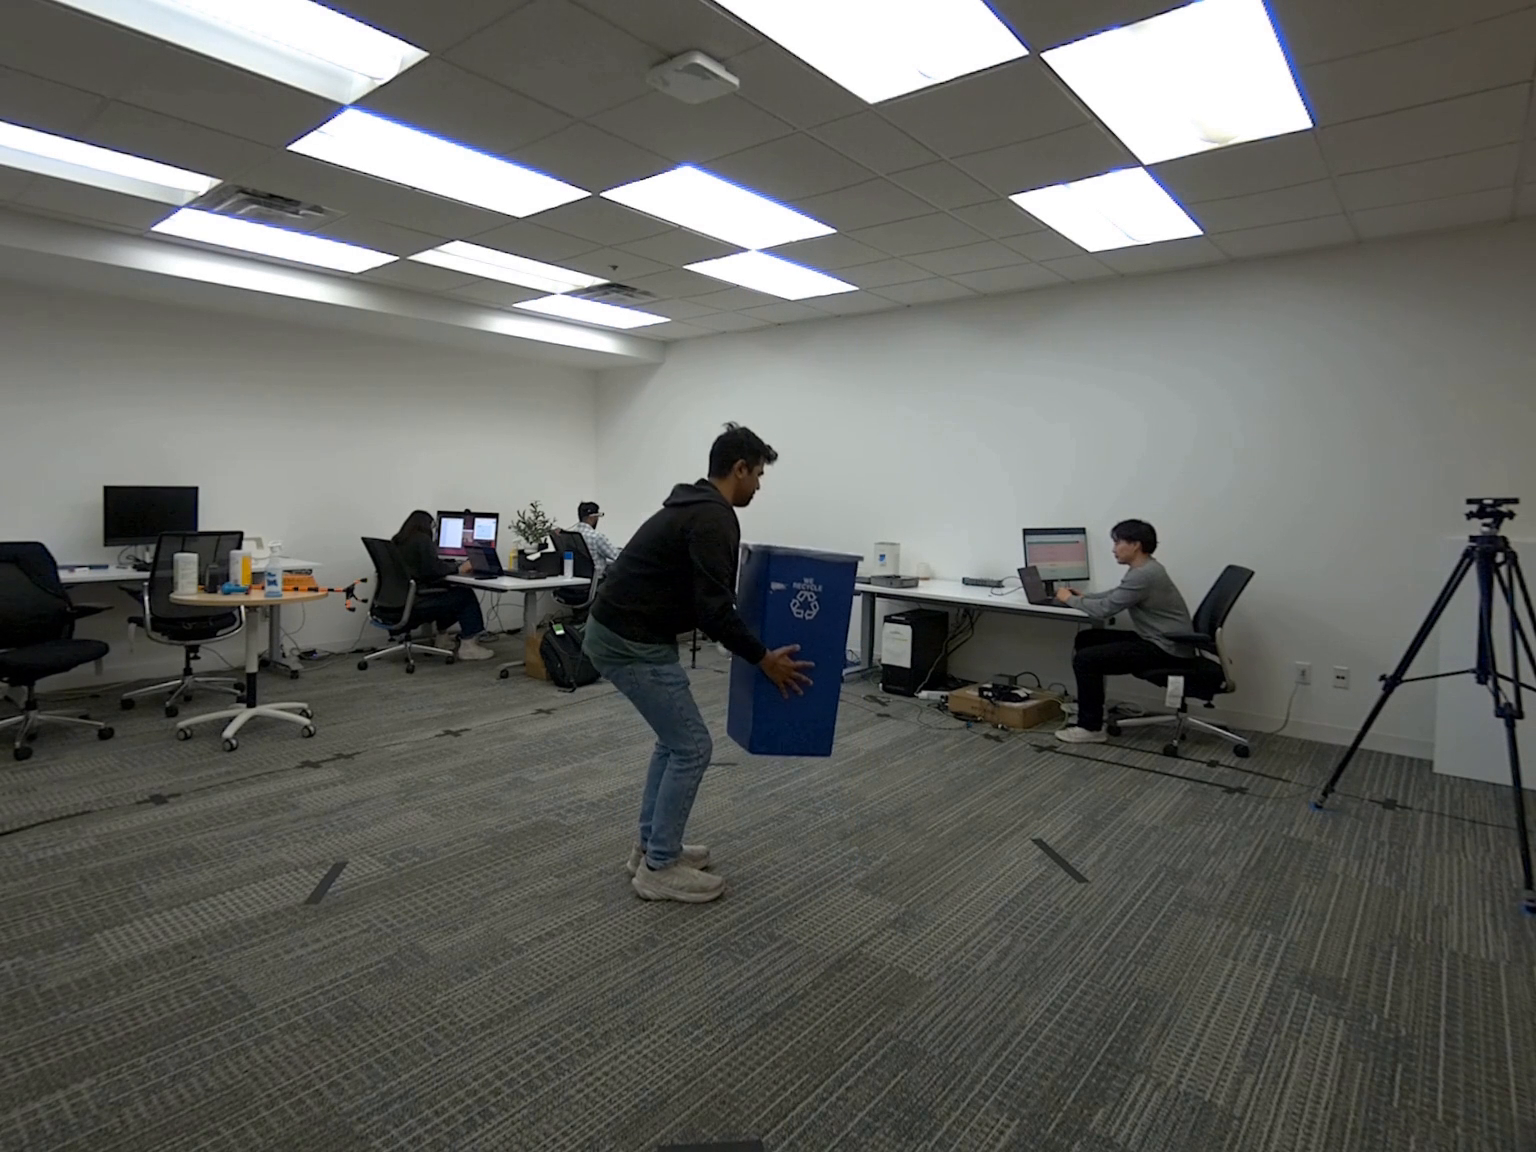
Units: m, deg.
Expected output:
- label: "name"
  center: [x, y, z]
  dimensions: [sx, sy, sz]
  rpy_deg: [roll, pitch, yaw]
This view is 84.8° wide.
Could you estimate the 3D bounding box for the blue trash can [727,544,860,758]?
- label: "blue trash can"
  center: [0.066, 0.260, 3.060]
  dimensions: [0.367, 0.714, 0.386]
  rpy_deg: [6, 0, -19]
